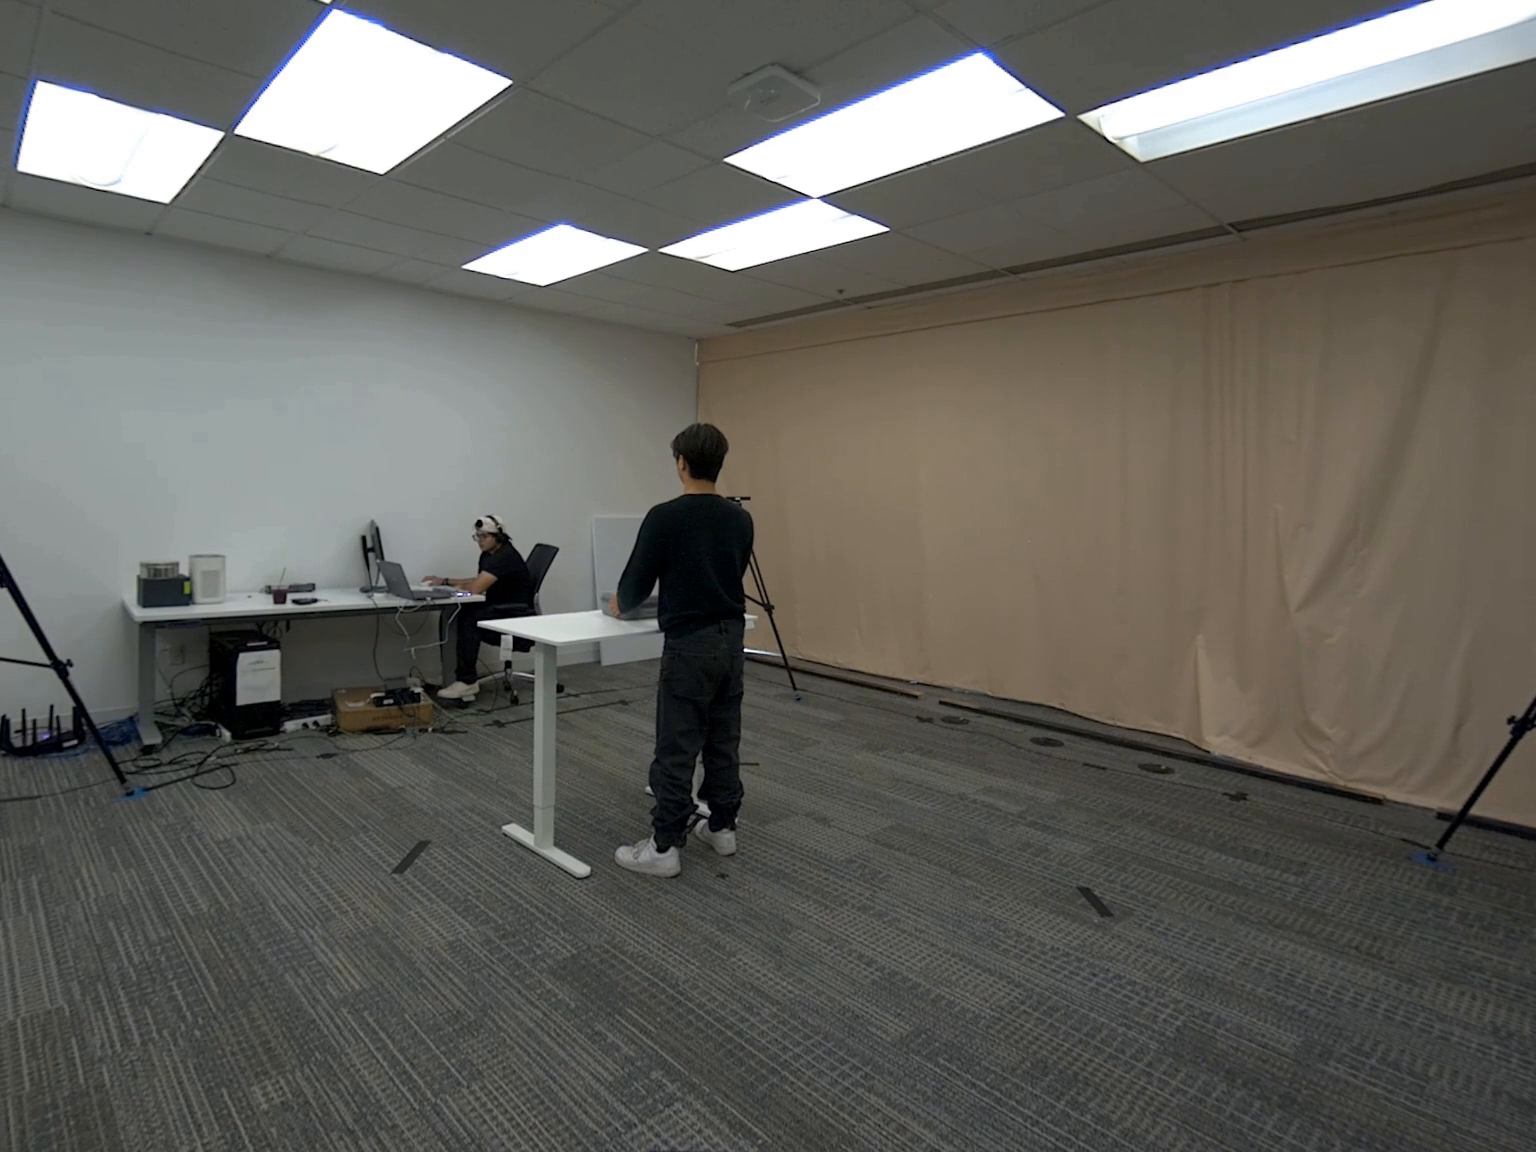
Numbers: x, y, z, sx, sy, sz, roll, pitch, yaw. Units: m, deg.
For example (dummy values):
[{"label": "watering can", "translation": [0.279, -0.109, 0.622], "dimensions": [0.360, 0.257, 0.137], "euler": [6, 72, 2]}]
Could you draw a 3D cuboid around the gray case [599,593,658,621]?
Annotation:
[{"label": "gray case", "translation": [-0.564, 0.119, 3.611], "dimensions": [0.251, 0.104, 0.267], "euler": [-1, 5, -36]}]
